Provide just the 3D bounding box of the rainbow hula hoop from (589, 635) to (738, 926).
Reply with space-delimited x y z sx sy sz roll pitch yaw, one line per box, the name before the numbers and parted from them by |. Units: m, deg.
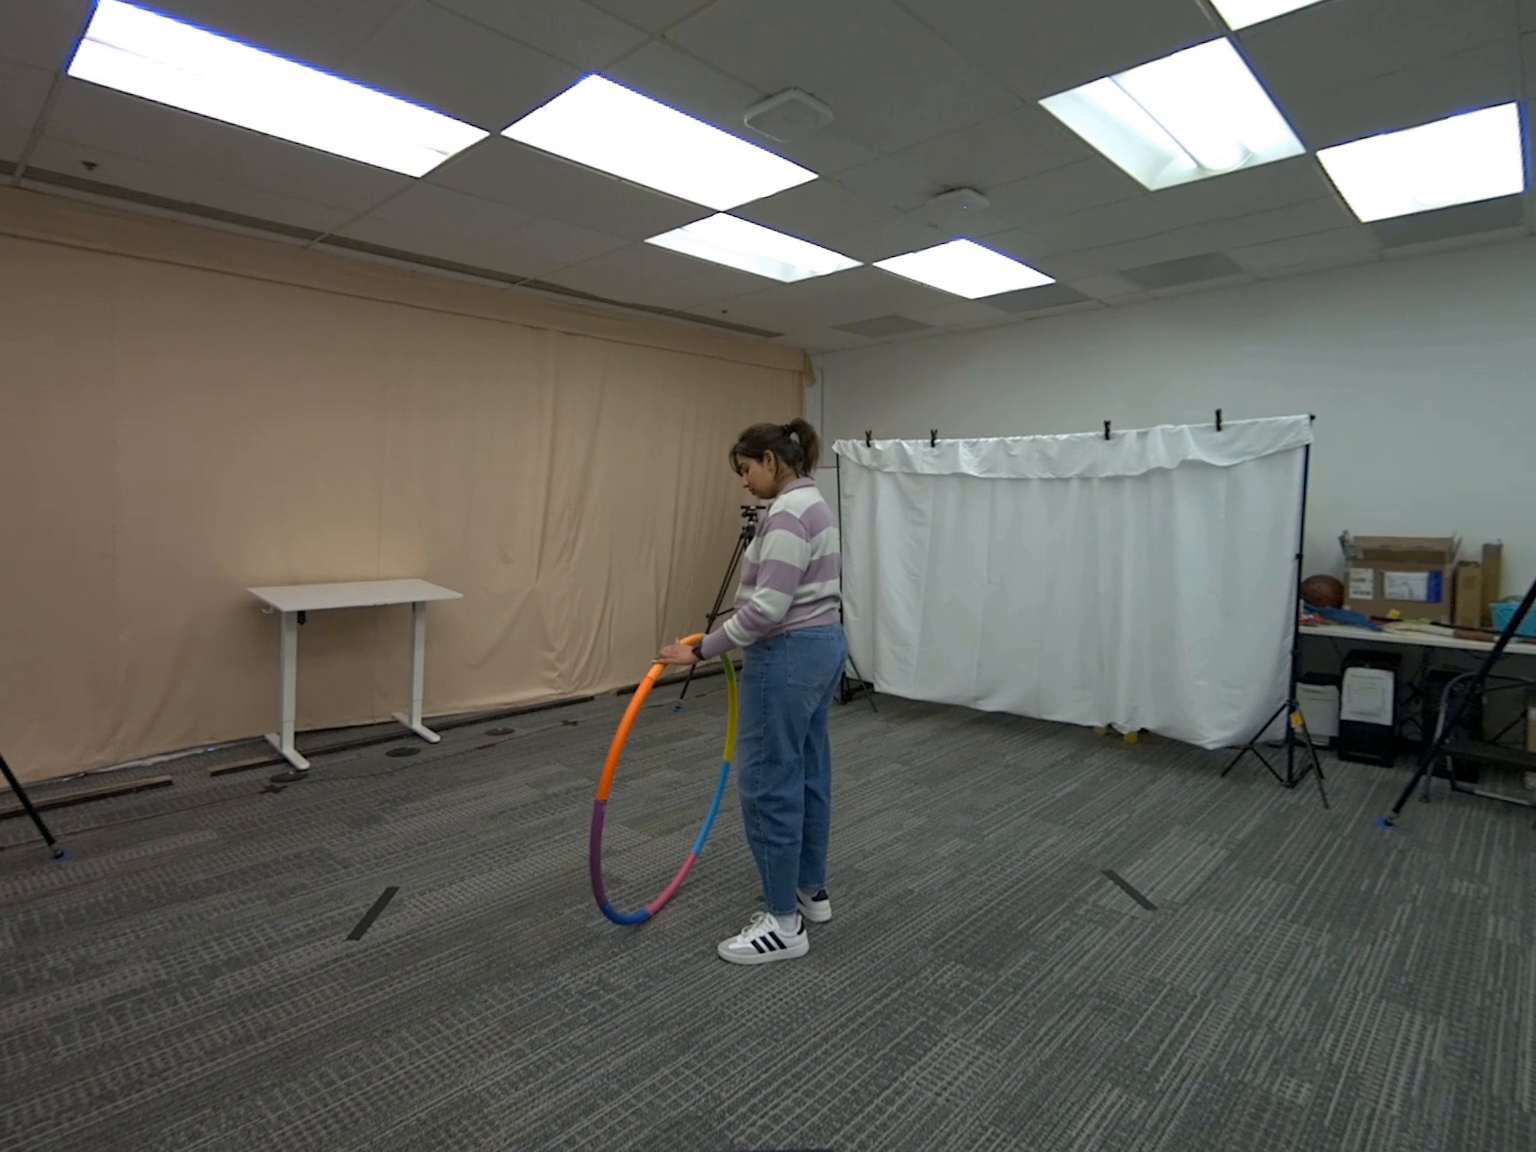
rainbow hula hoop | -0.312 0.677 2.845 0.053 0.982 0.964 11 8 21
